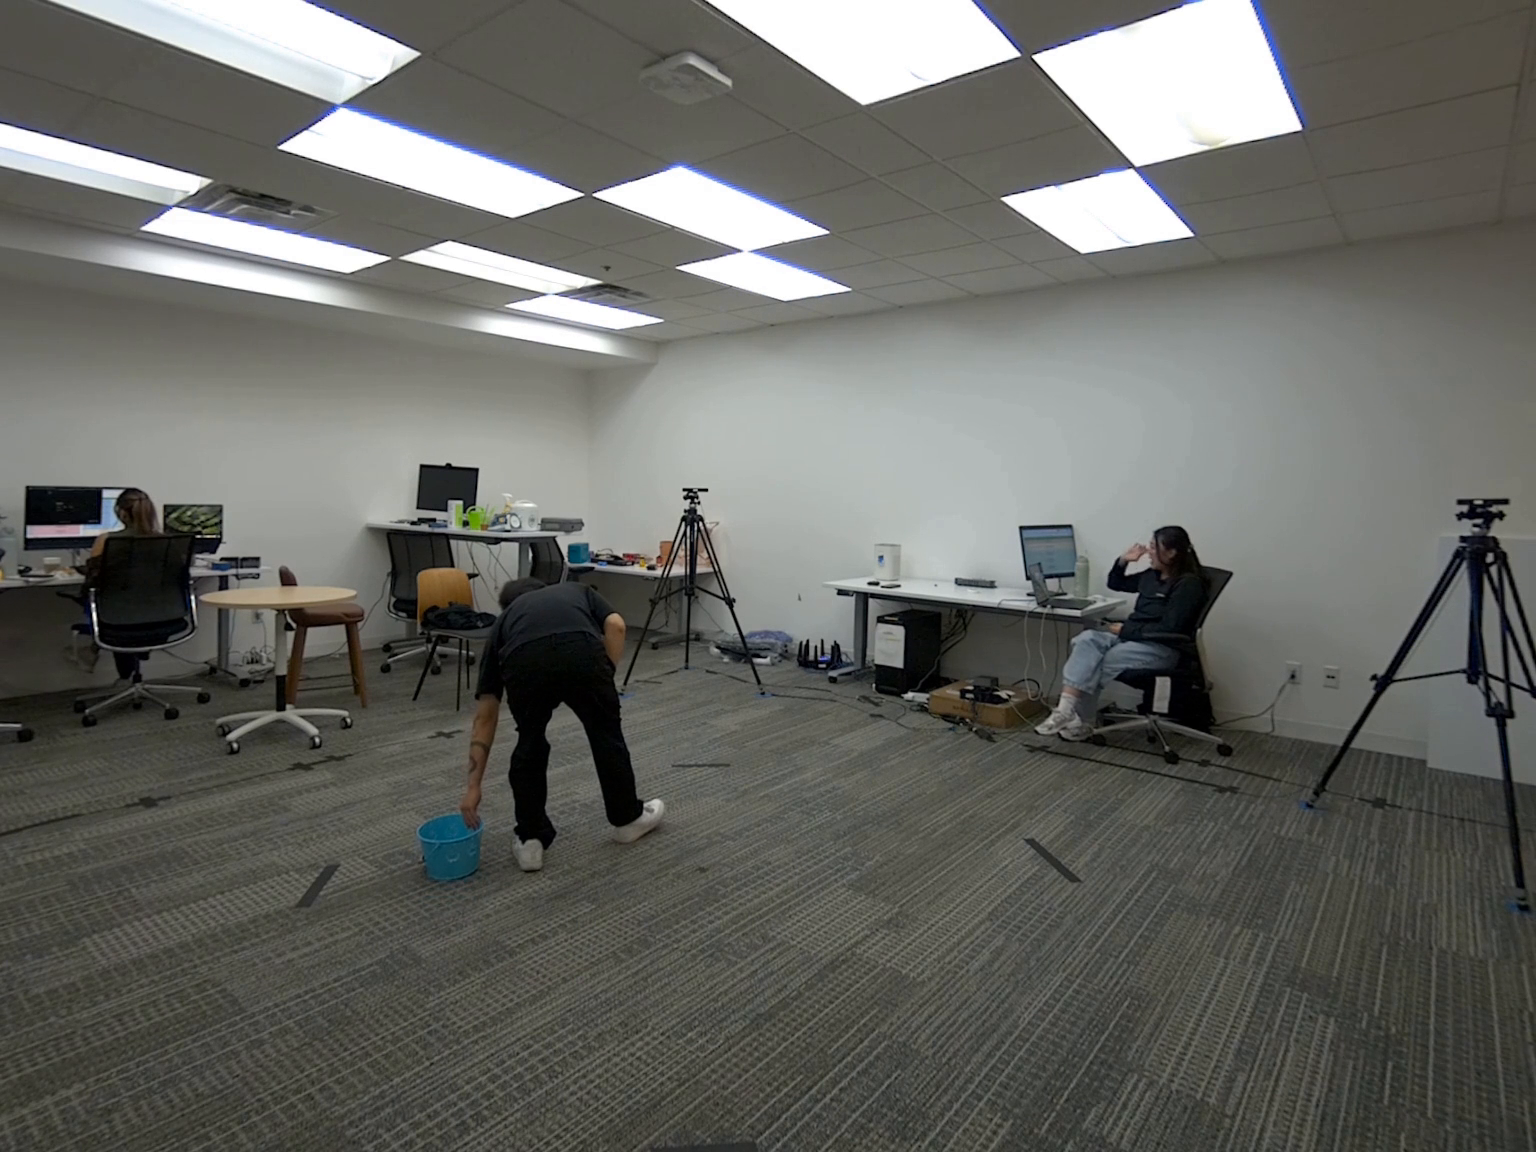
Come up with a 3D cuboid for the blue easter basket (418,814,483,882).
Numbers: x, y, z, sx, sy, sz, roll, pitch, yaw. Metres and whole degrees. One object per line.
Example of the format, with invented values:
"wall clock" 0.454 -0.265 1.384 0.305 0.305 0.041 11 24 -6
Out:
"blue easter basket" -1.154 0.980 3.074 0.243 0.155 0.245 -2 8 -2
